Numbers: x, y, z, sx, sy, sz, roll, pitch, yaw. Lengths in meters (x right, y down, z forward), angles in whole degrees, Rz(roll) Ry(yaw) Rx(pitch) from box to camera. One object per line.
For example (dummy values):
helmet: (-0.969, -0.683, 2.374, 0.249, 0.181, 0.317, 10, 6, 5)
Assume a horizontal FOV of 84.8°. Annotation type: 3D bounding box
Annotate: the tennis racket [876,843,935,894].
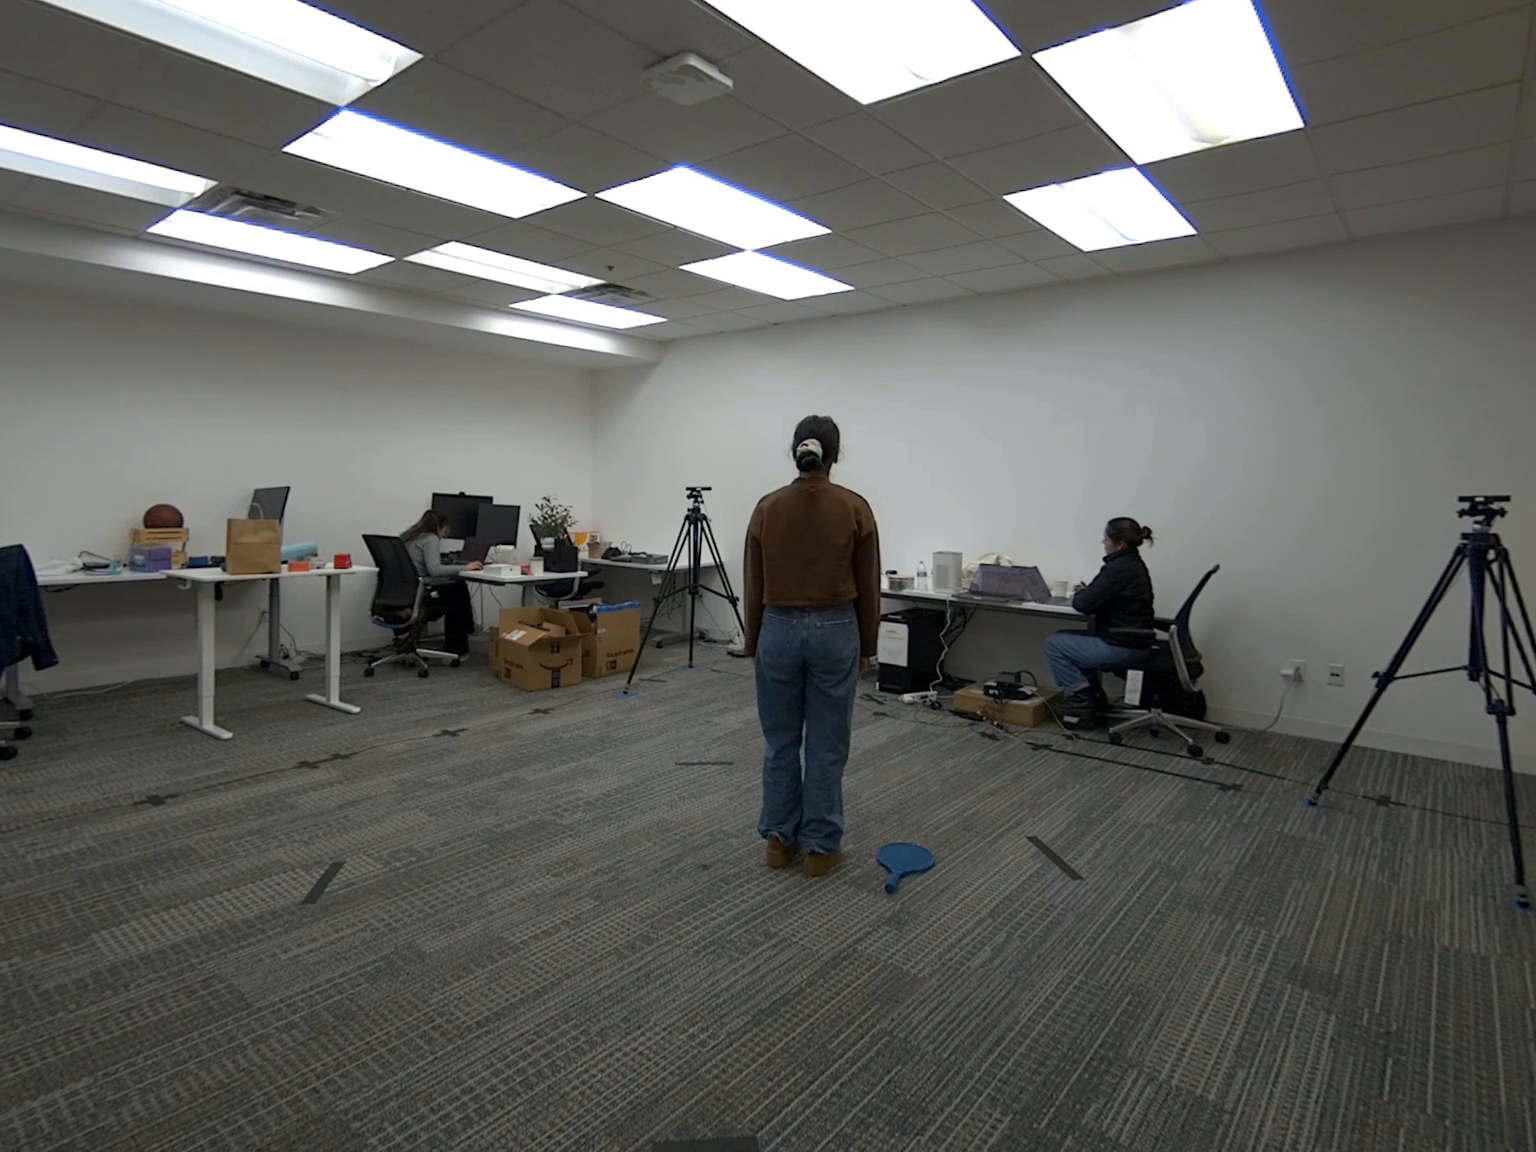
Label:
tennis racket: (0.484, 1.065, 3.138, 0.218, 0.031, 0.425, 4, 5, 18)
